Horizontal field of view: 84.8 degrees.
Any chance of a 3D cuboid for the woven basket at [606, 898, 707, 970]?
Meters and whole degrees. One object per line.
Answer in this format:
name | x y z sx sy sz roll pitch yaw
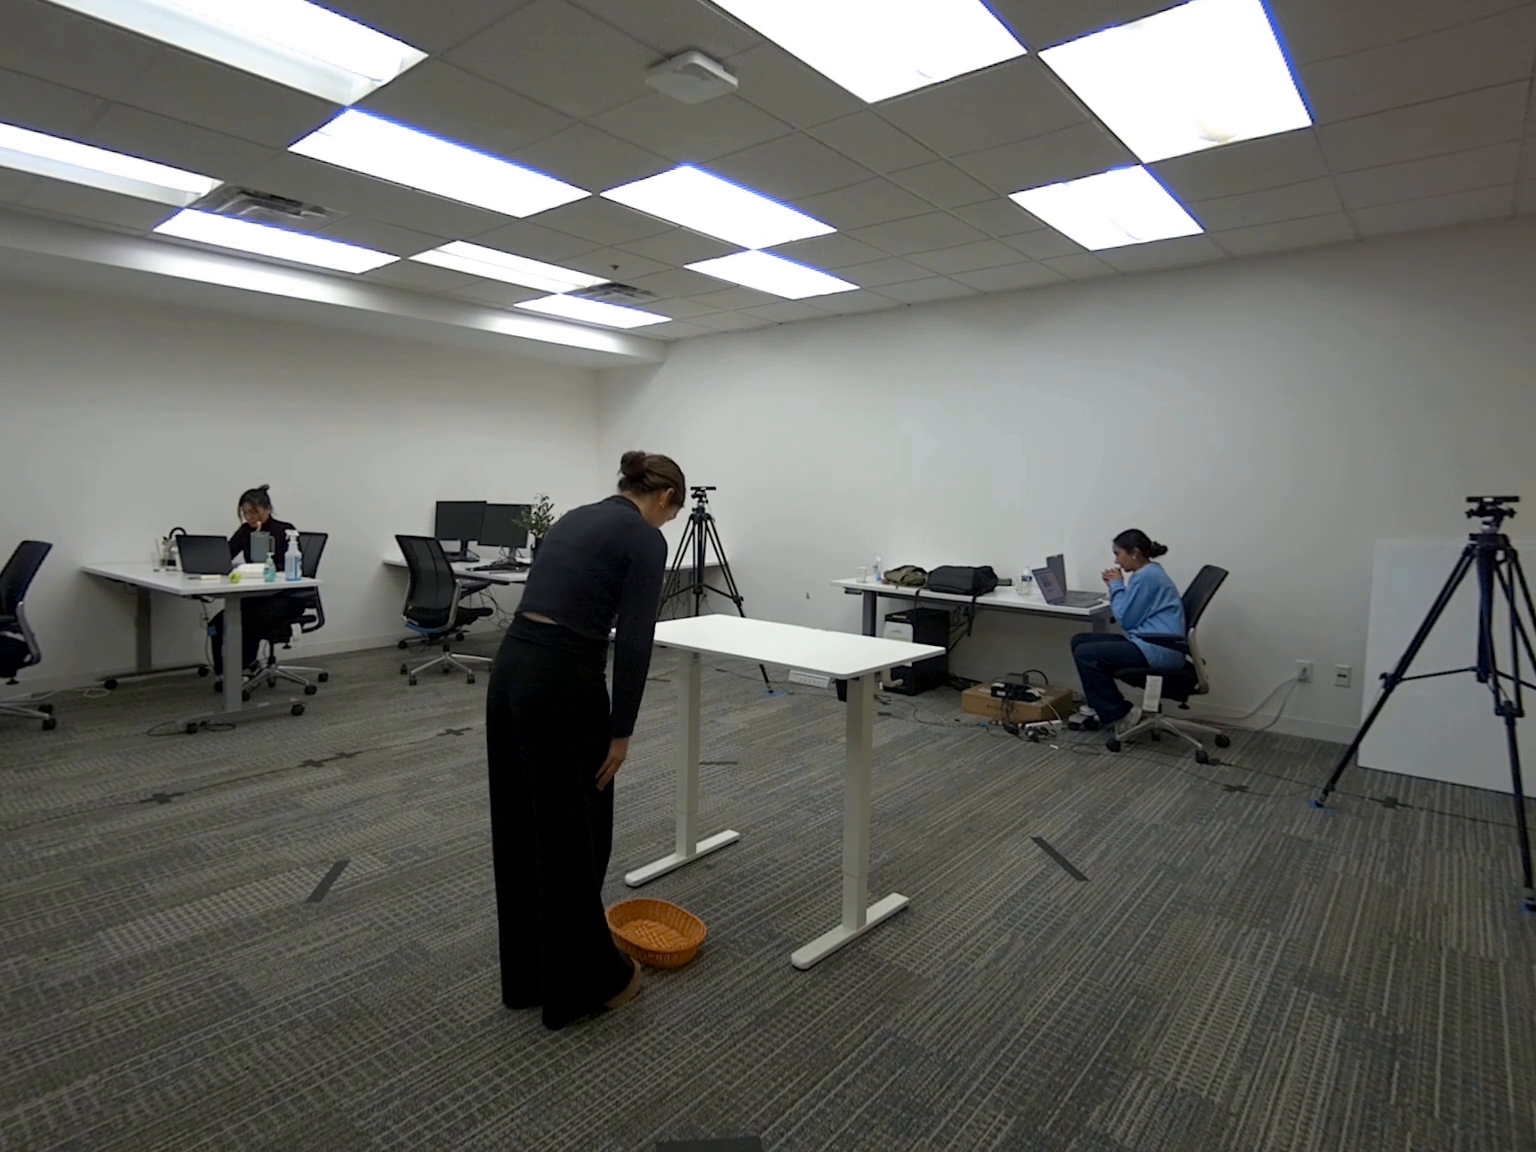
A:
woven basket | -0.347 1.071 2.572 0.245 0.073 0.362 -3 7 -45
